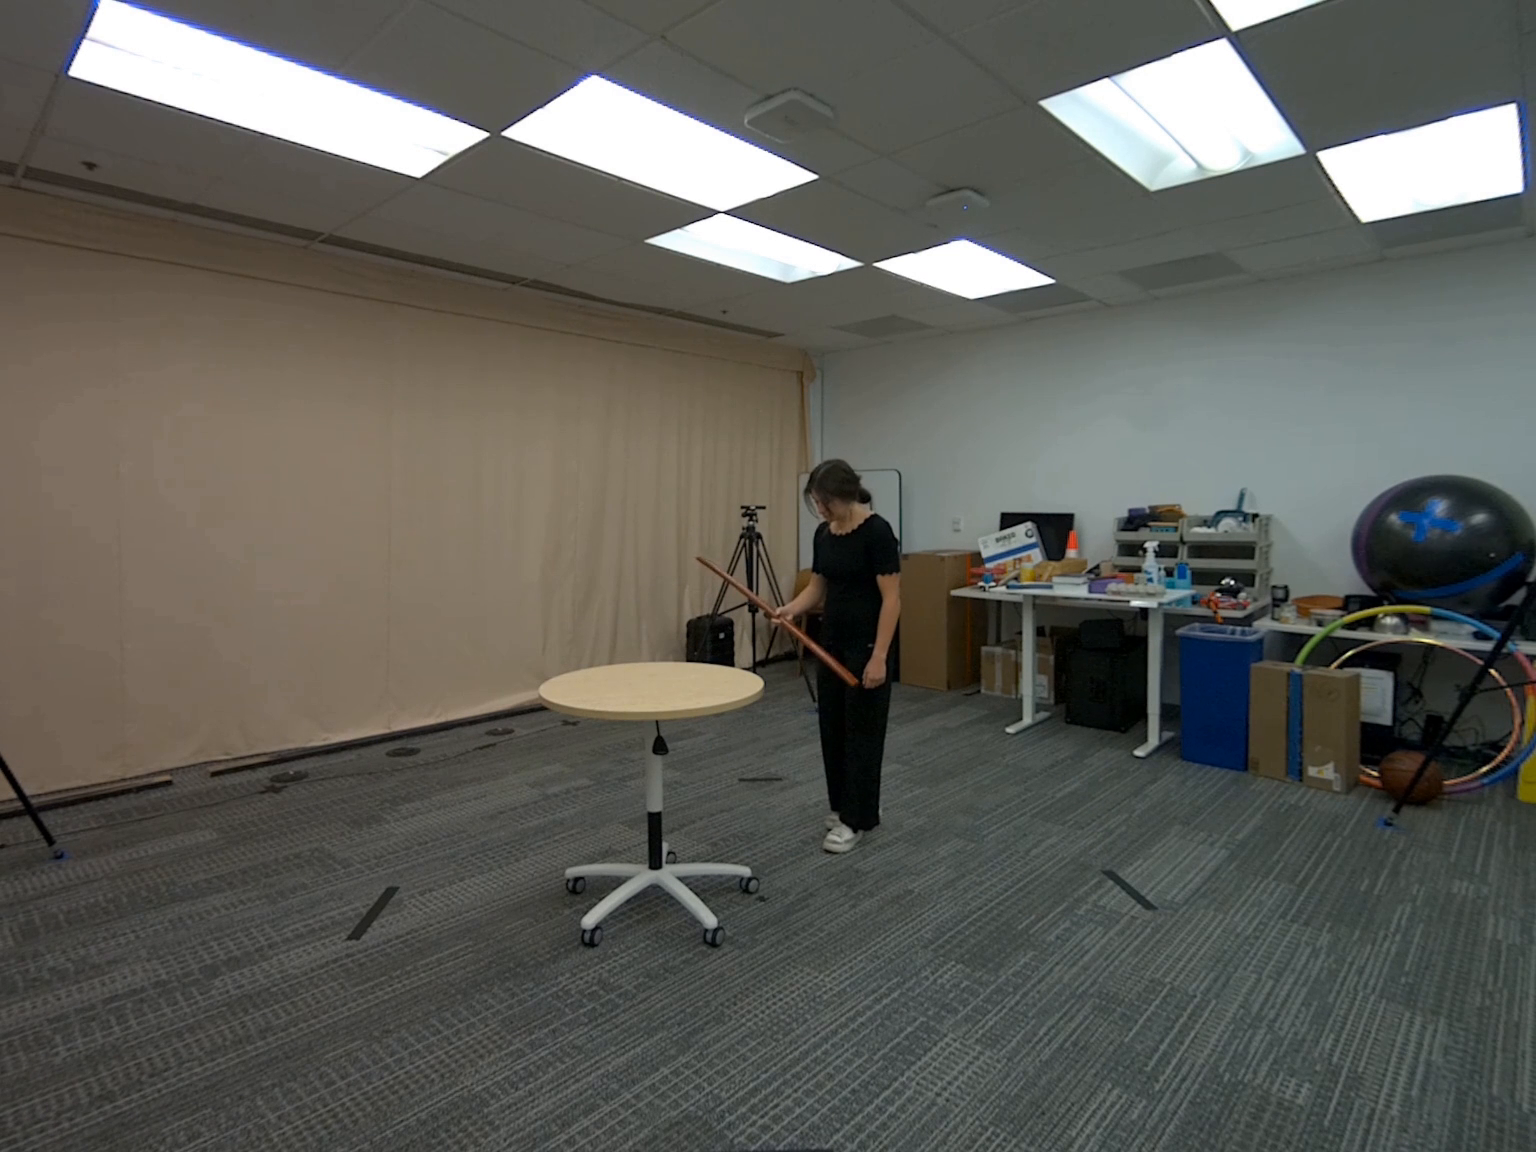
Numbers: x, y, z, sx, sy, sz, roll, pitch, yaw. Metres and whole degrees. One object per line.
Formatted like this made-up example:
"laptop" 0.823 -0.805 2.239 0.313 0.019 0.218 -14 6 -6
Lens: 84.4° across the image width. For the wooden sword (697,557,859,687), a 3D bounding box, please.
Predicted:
"wooden sword" 0.028 0.165 3.414 0.024 0.050 1.063 -28 43 -25
